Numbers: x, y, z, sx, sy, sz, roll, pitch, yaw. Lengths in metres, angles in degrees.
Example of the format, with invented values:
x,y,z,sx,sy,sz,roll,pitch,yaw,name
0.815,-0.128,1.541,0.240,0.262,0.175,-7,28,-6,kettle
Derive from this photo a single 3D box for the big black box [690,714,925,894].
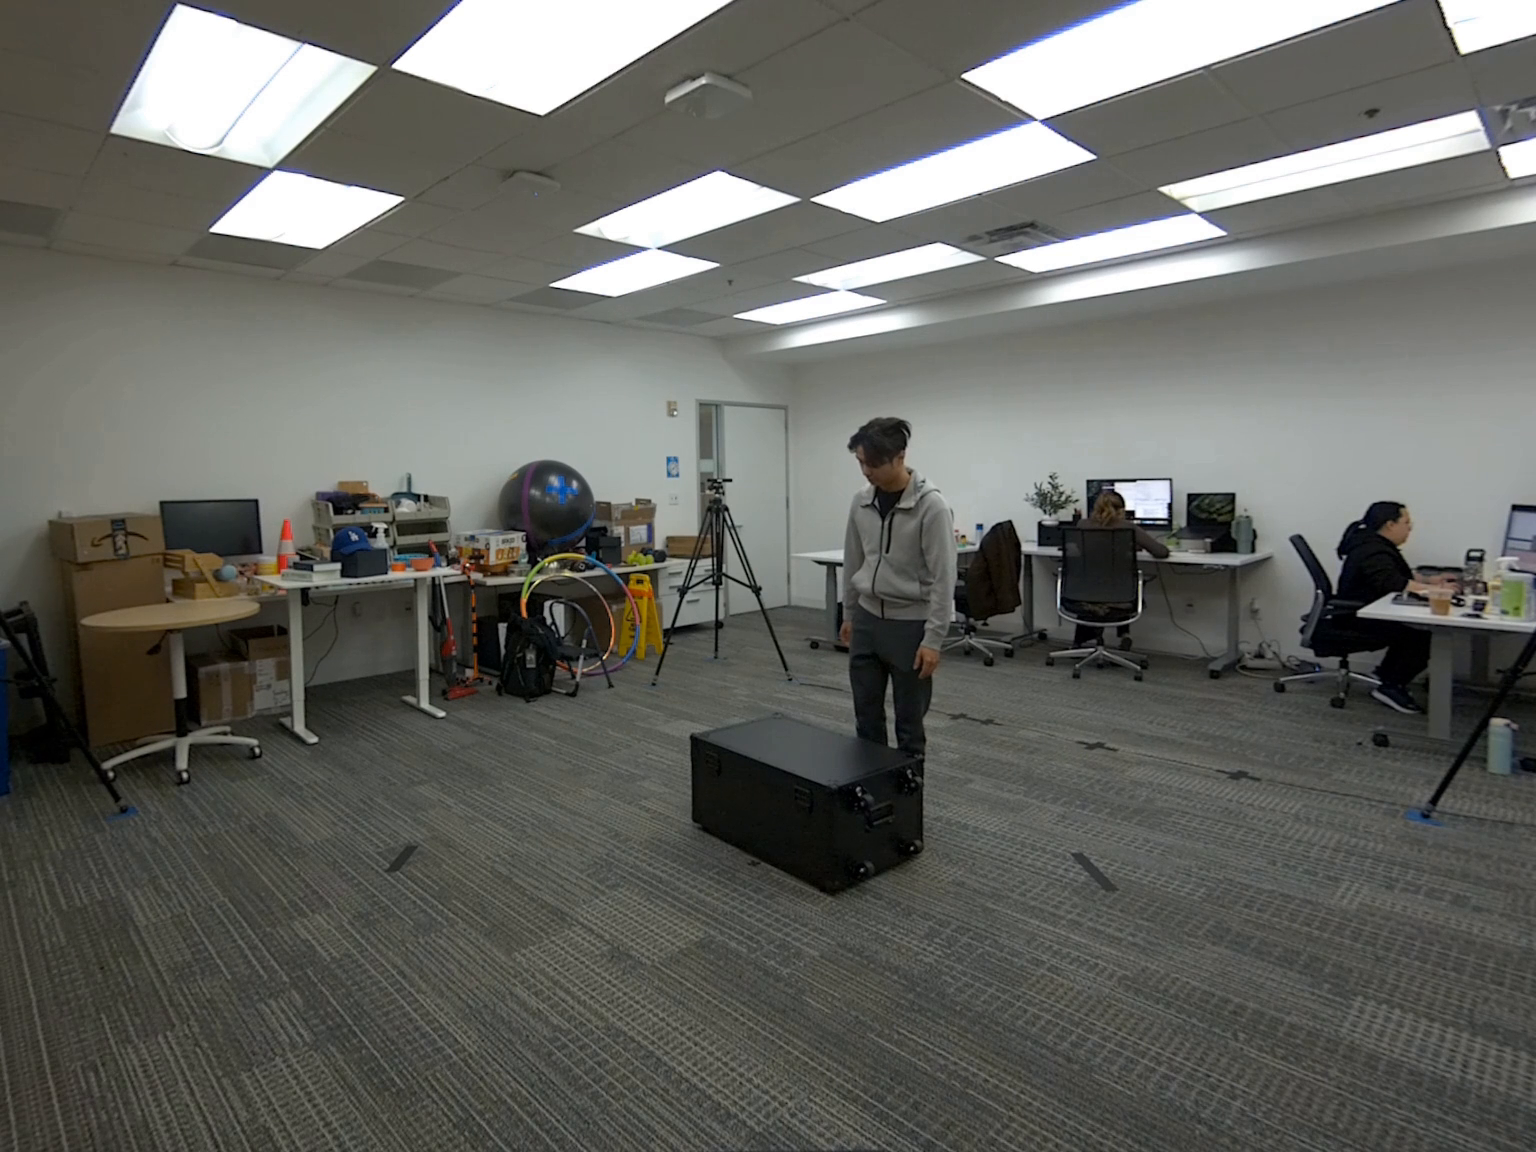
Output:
x,y,z,sx,sy,sz,roll,pitch,yaw,name
0.148,0.836,3.246,0.507,0.395,0.888,-5,7,-41,big black box
